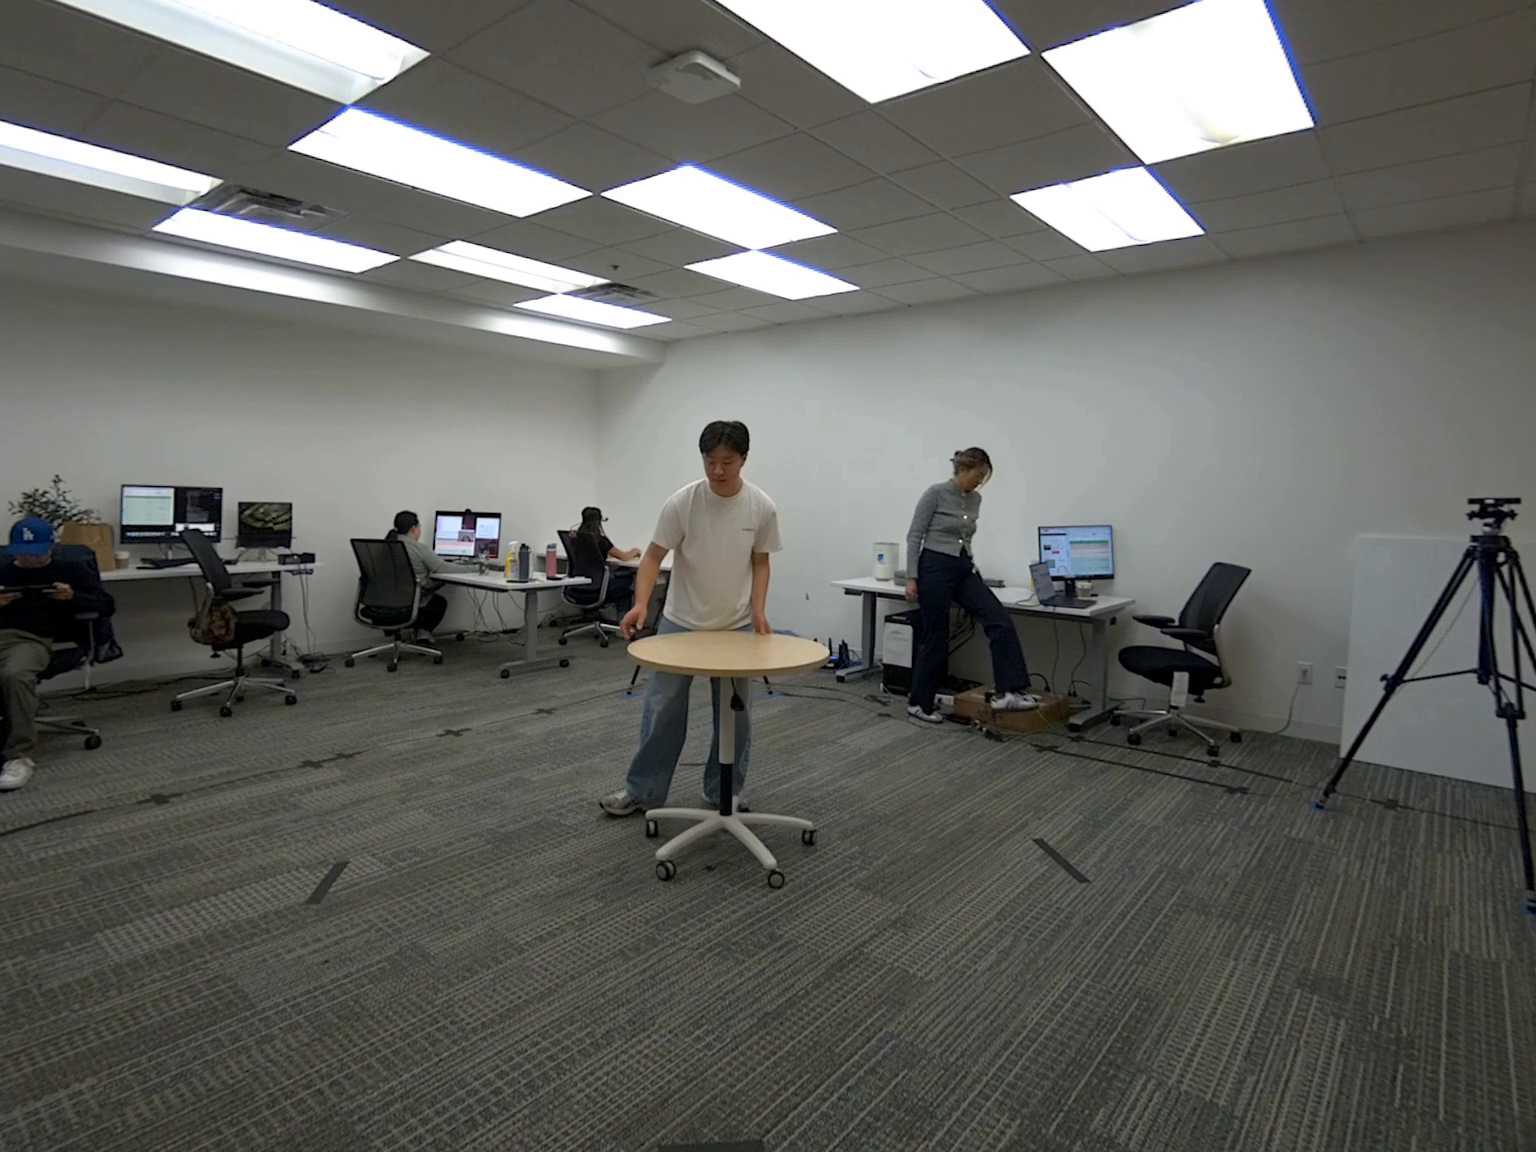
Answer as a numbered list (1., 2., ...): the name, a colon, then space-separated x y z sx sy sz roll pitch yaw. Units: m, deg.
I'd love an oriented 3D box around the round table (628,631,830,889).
1. round table: -0.181 0.660 3.236 0.784 0.785 0.788 1 3 -2
